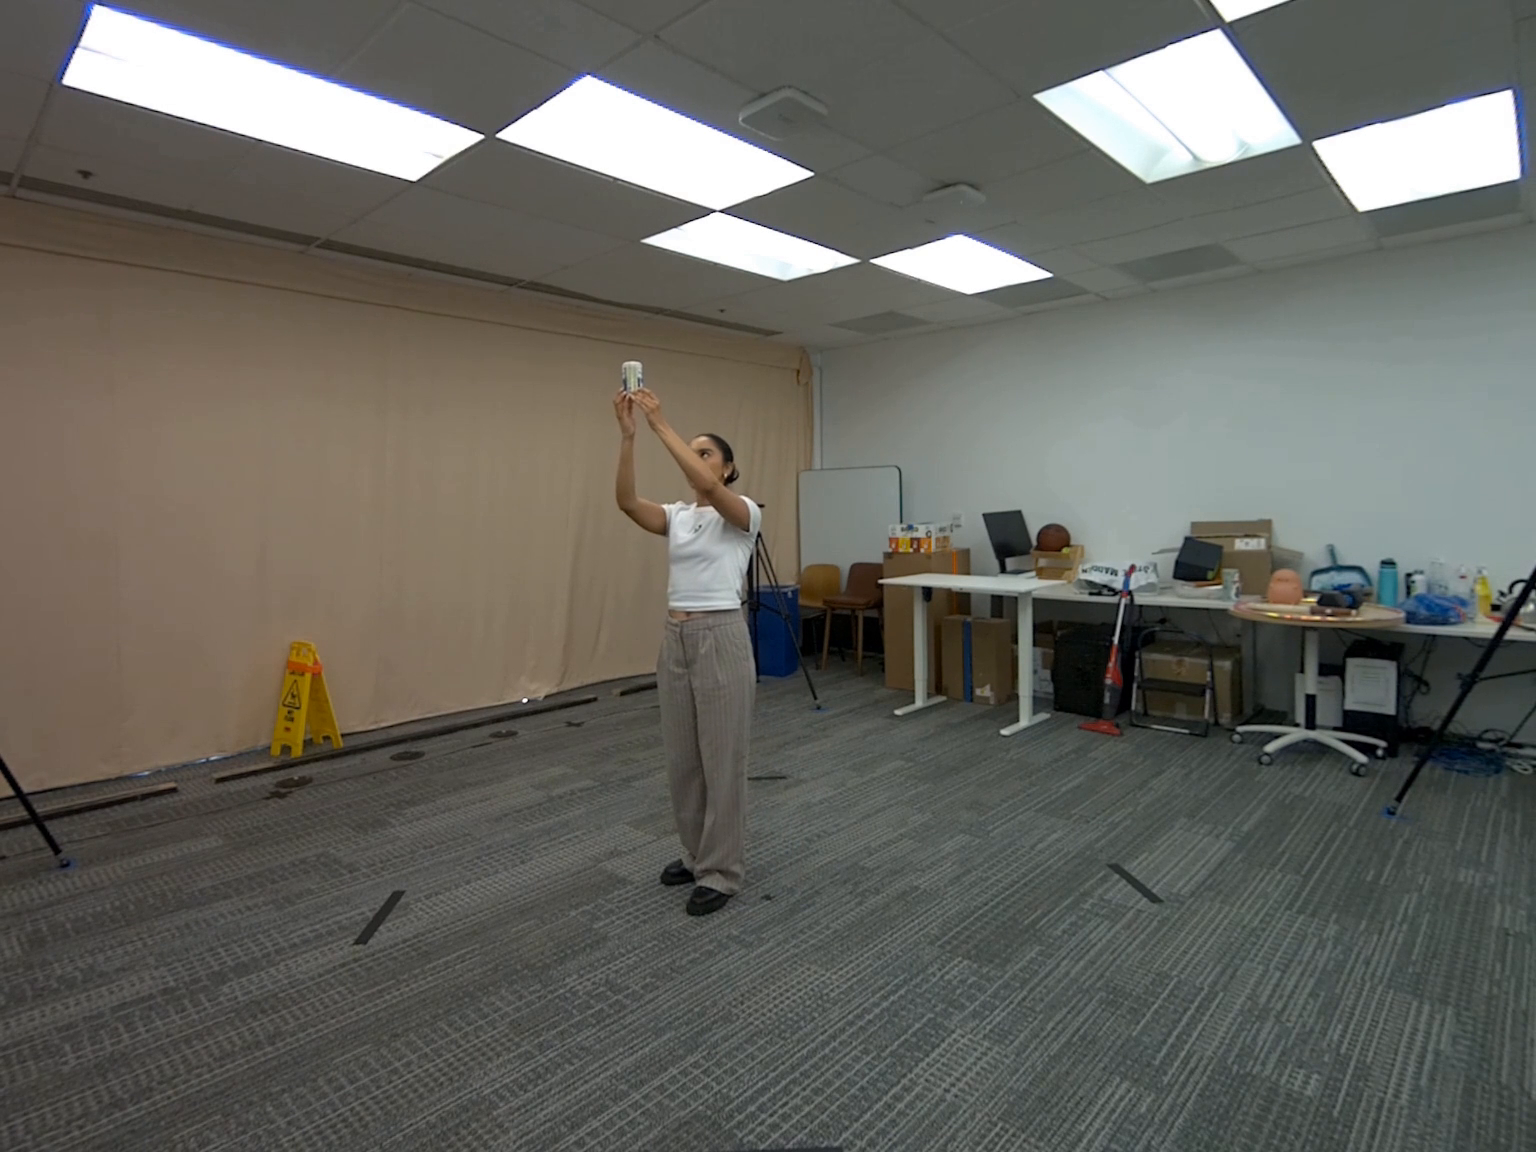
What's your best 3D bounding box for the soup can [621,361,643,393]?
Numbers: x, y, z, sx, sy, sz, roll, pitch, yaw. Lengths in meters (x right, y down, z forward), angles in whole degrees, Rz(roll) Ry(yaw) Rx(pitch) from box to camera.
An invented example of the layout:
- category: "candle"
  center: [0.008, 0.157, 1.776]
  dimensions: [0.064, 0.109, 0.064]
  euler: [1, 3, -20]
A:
- category: "soup can"
  center: [-0.443, -0.637, 2.755]
  dimensions: [0.067, 0.122, 0.067]
  euler: [-4, -4, -2]
